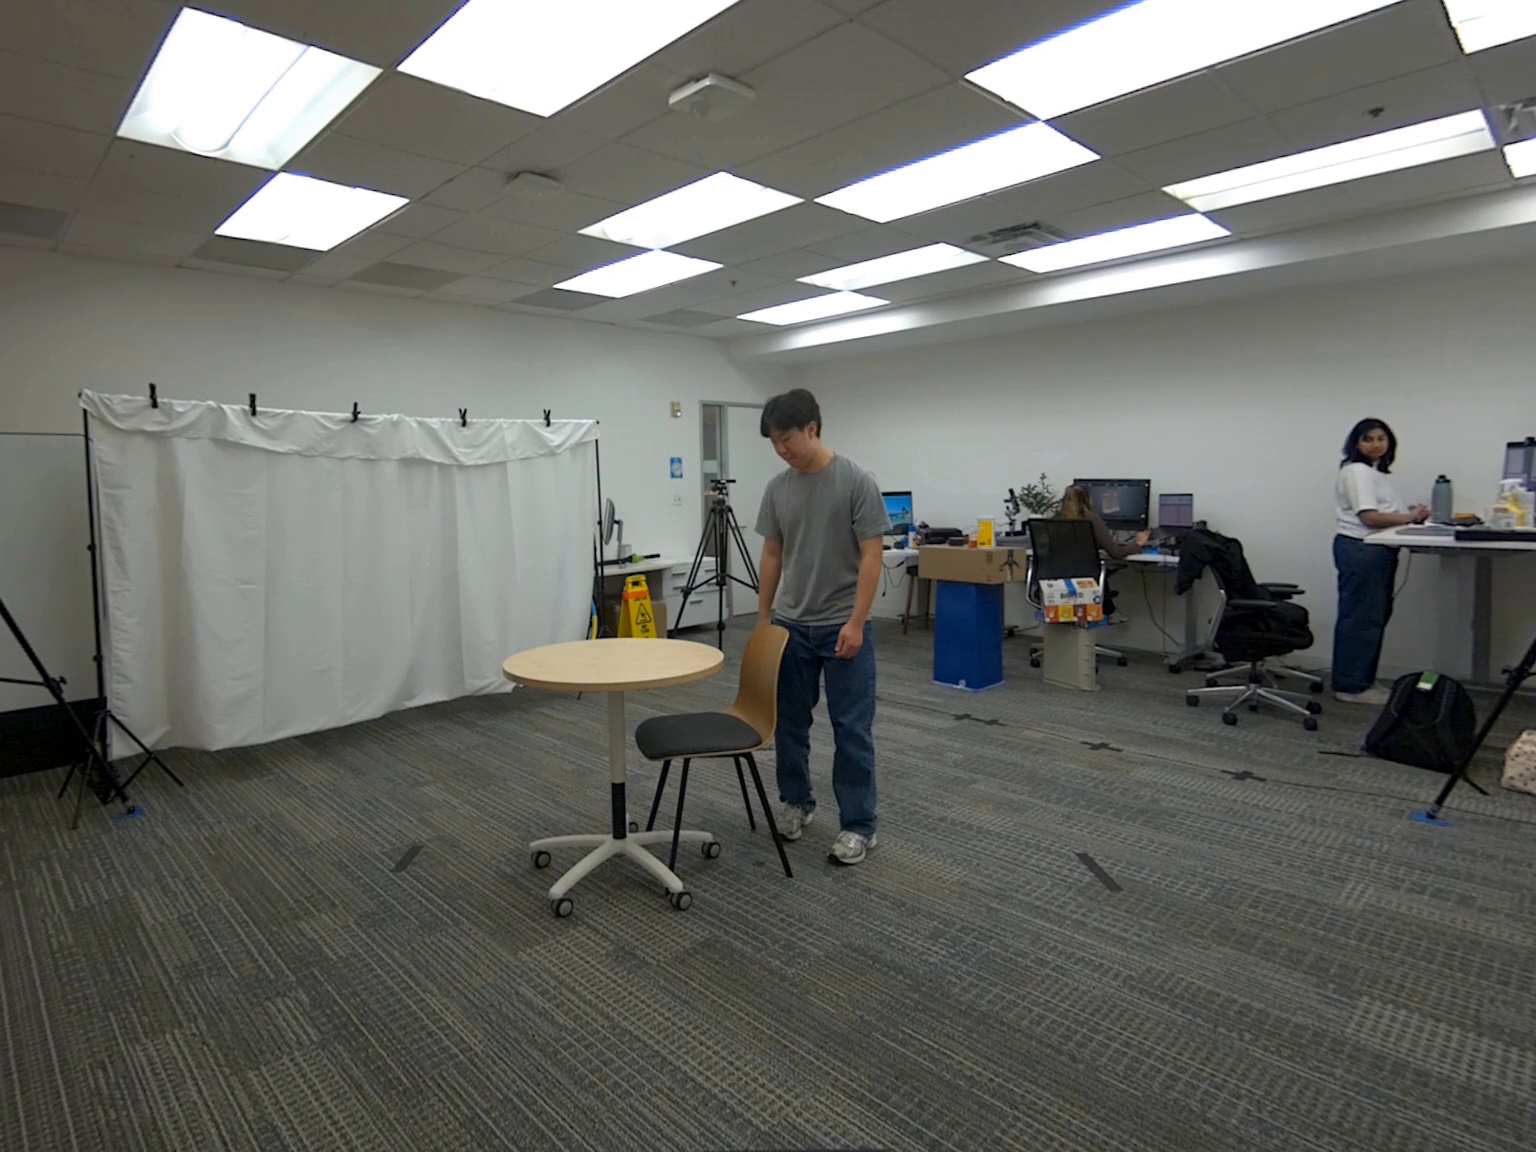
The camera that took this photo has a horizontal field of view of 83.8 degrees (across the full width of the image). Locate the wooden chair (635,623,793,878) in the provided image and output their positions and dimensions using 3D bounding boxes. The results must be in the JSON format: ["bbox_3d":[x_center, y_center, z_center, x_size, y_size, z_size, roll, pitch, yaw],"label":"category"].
[{"bbox_3d":[-0.206,0.622,3.110,0.515,0.875,0.487,2,3,-17],"label":"wooden chair"}]
